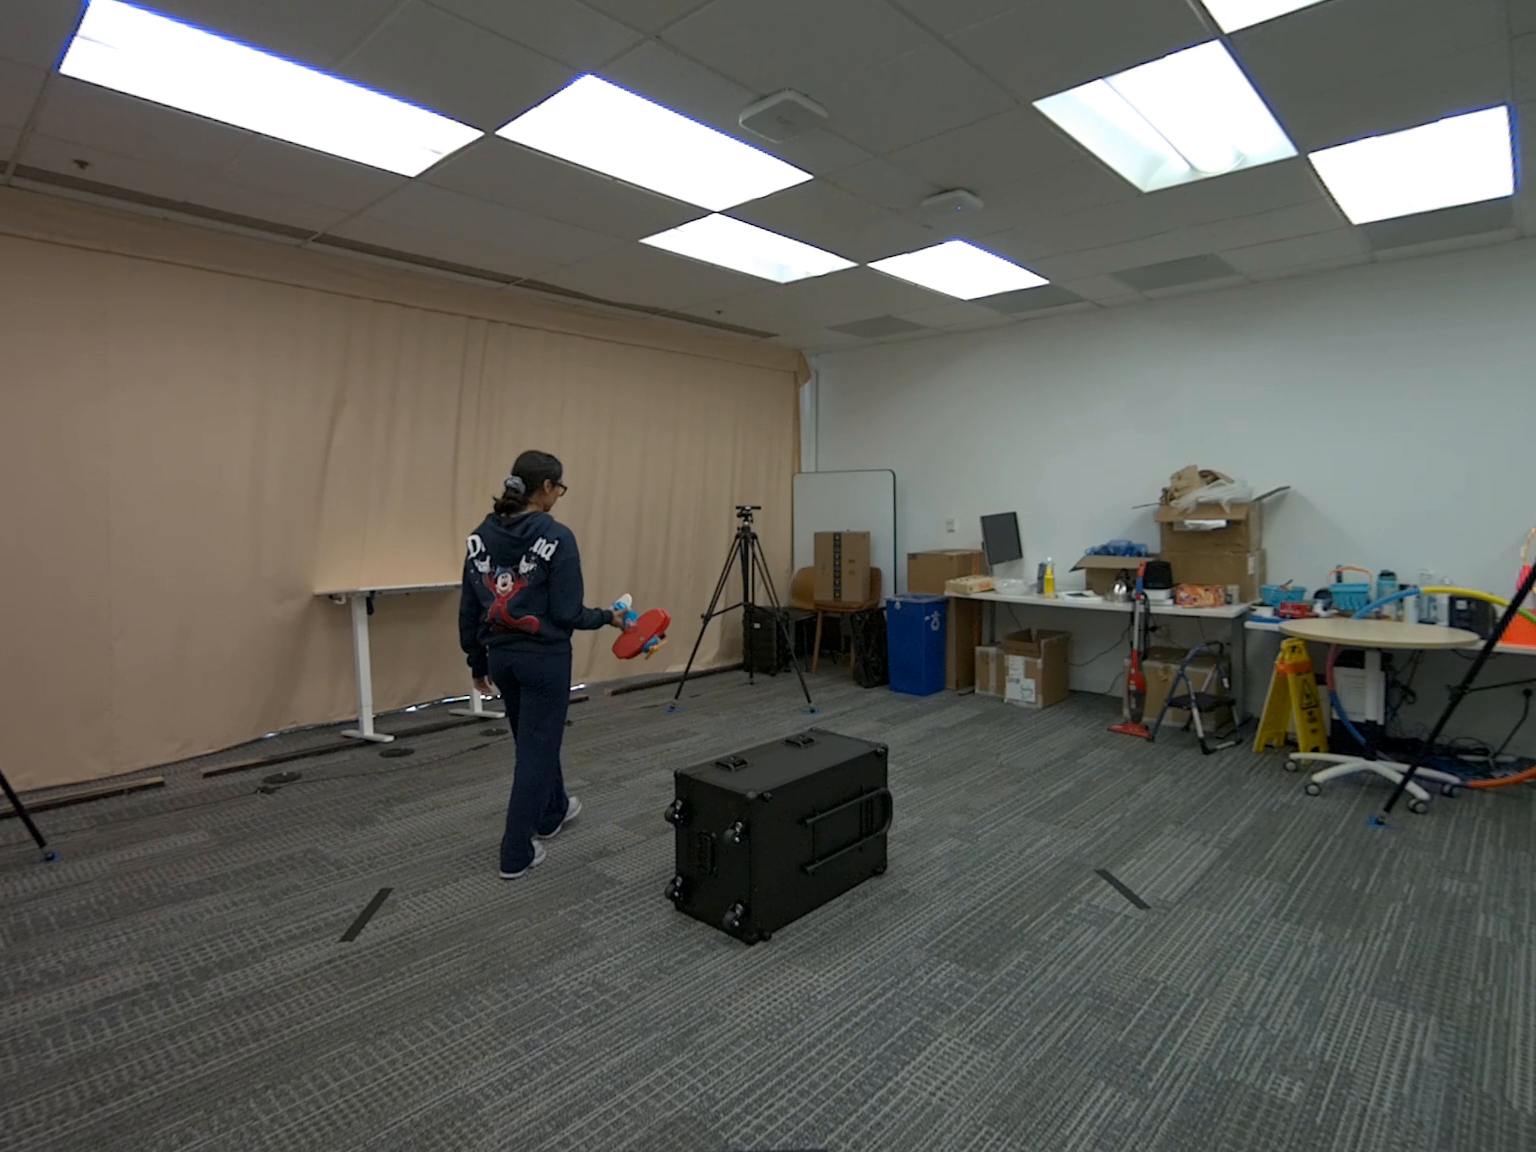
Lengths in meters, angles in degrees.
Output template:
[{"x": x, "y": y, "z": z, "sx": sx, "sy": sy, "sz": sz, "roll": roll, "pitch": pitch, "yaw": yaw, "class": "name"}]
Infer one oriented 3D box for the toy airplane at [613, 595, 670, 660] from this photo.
[{"x": -0.536, "y": 0.219, "z": 3.405, "sx": 0.261, "sy": 0.251, "sz": 0.156, "roll": 19, "pitch": 6, "yaw": 4, "class": "toy airplane"}]
